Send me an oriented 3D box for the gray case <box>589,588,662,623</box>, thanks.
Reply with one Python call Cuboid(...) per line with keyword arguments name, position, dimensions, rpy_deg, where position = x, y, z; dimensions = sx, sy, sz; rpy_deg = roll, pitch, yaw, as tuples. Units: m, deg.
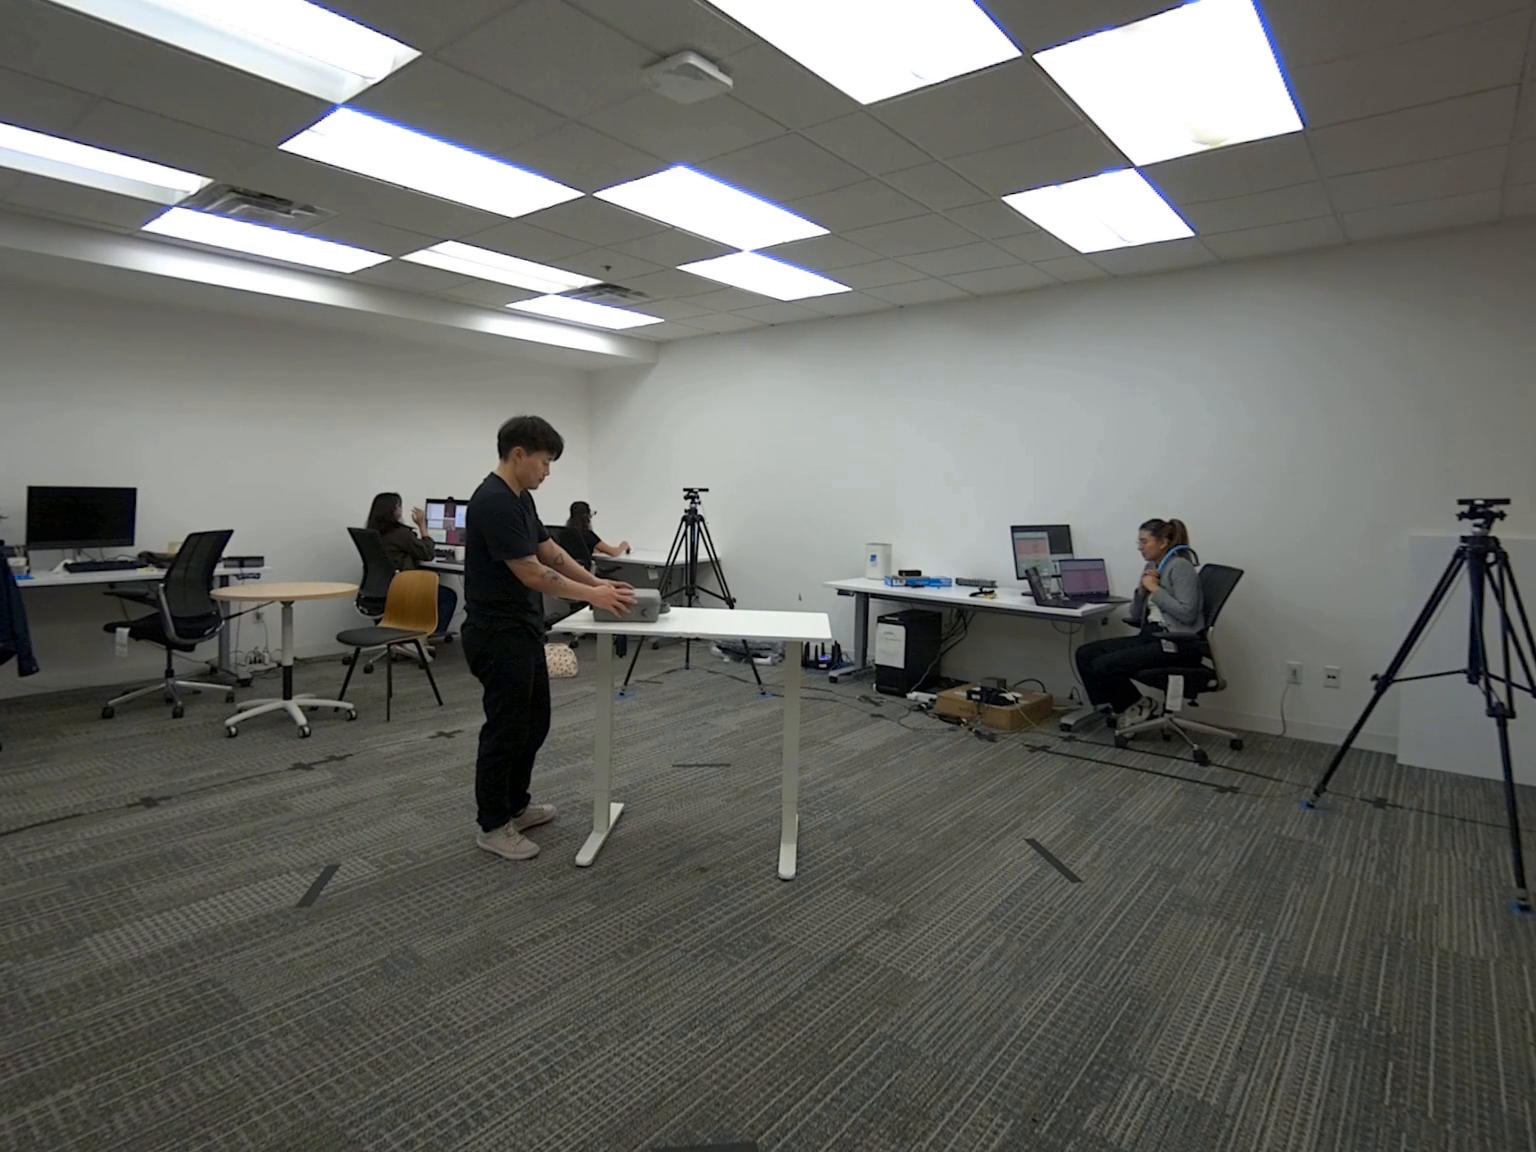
Cuboid(name="gray case", position=(-0.554, 0.114, 3.312), dimensions=(0.260, 0.104, 0.259), rpy_deg=(0, 6, -3))
